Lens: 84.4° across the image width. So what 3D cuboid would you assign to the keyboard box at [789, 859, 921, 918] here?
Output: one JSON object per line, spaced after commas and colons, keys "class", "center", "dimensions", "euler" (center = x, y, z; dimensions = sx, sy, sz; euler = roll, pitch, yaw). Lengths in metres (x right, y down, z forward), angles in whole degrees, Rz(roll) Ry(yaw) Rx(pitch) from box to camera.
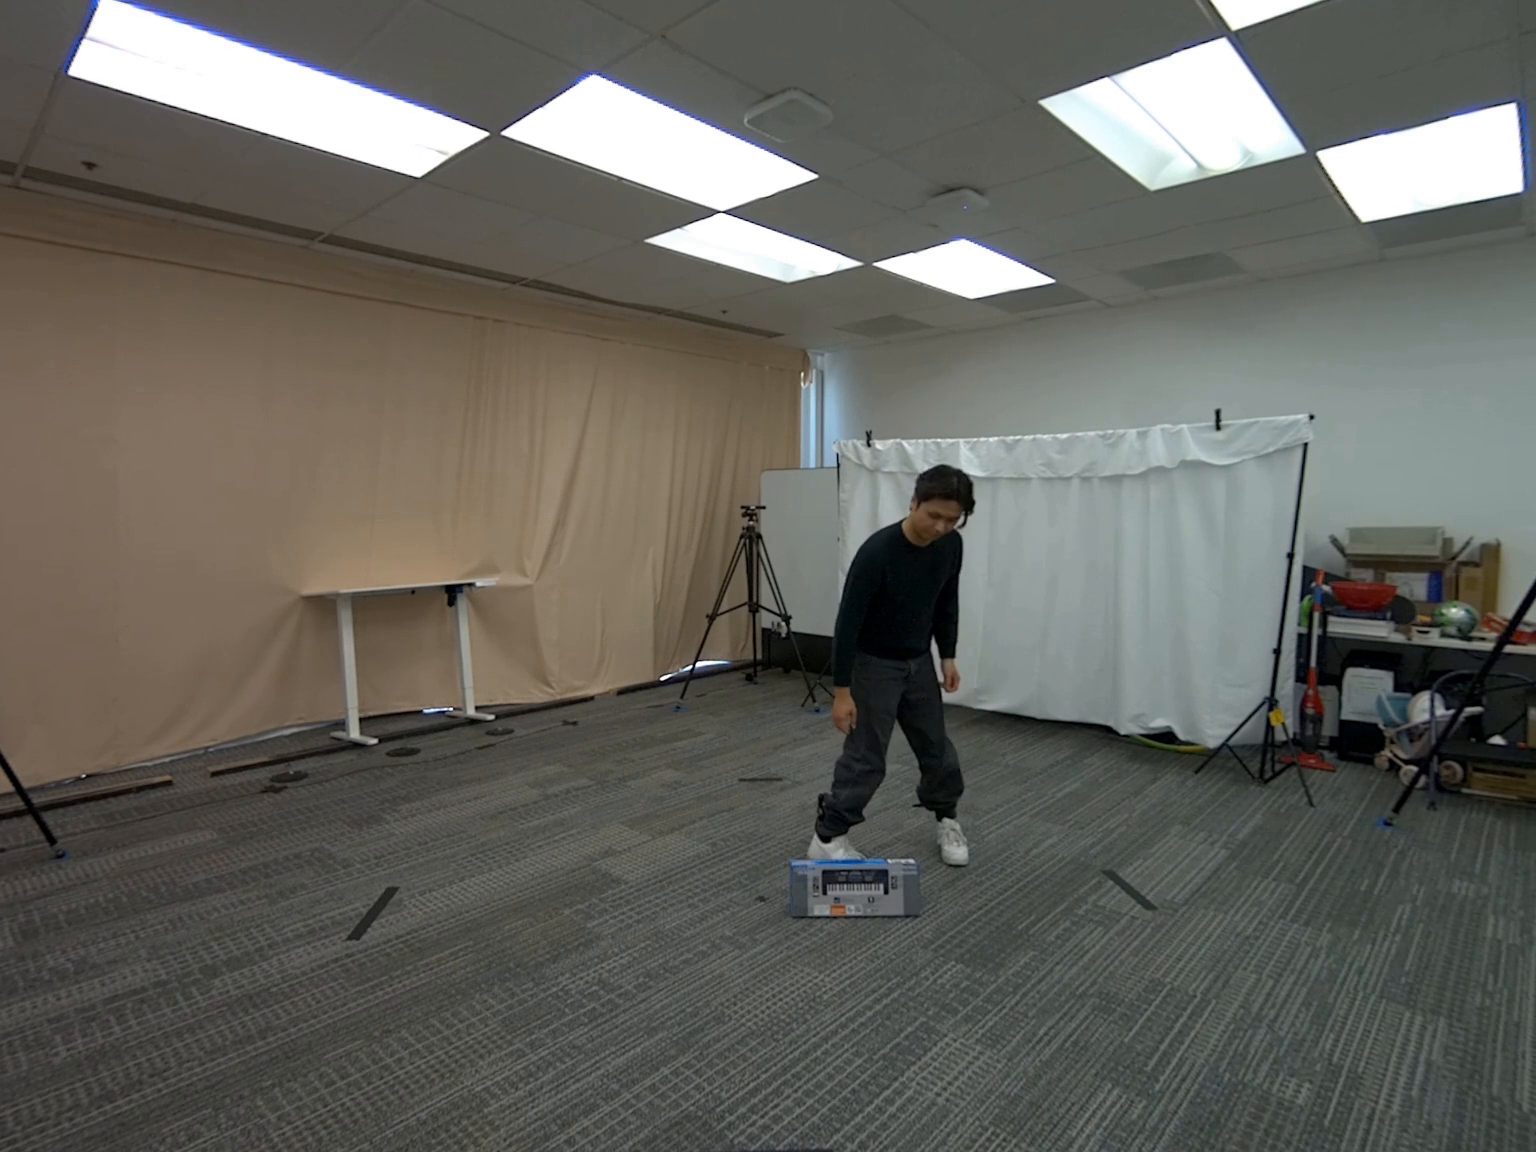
{"class": "keyboard box", "center": [0.298, 1.064, 2.871], "dimensions": [0.436, 0.176, 0.059], "euler": [-1, -3, 0]}
